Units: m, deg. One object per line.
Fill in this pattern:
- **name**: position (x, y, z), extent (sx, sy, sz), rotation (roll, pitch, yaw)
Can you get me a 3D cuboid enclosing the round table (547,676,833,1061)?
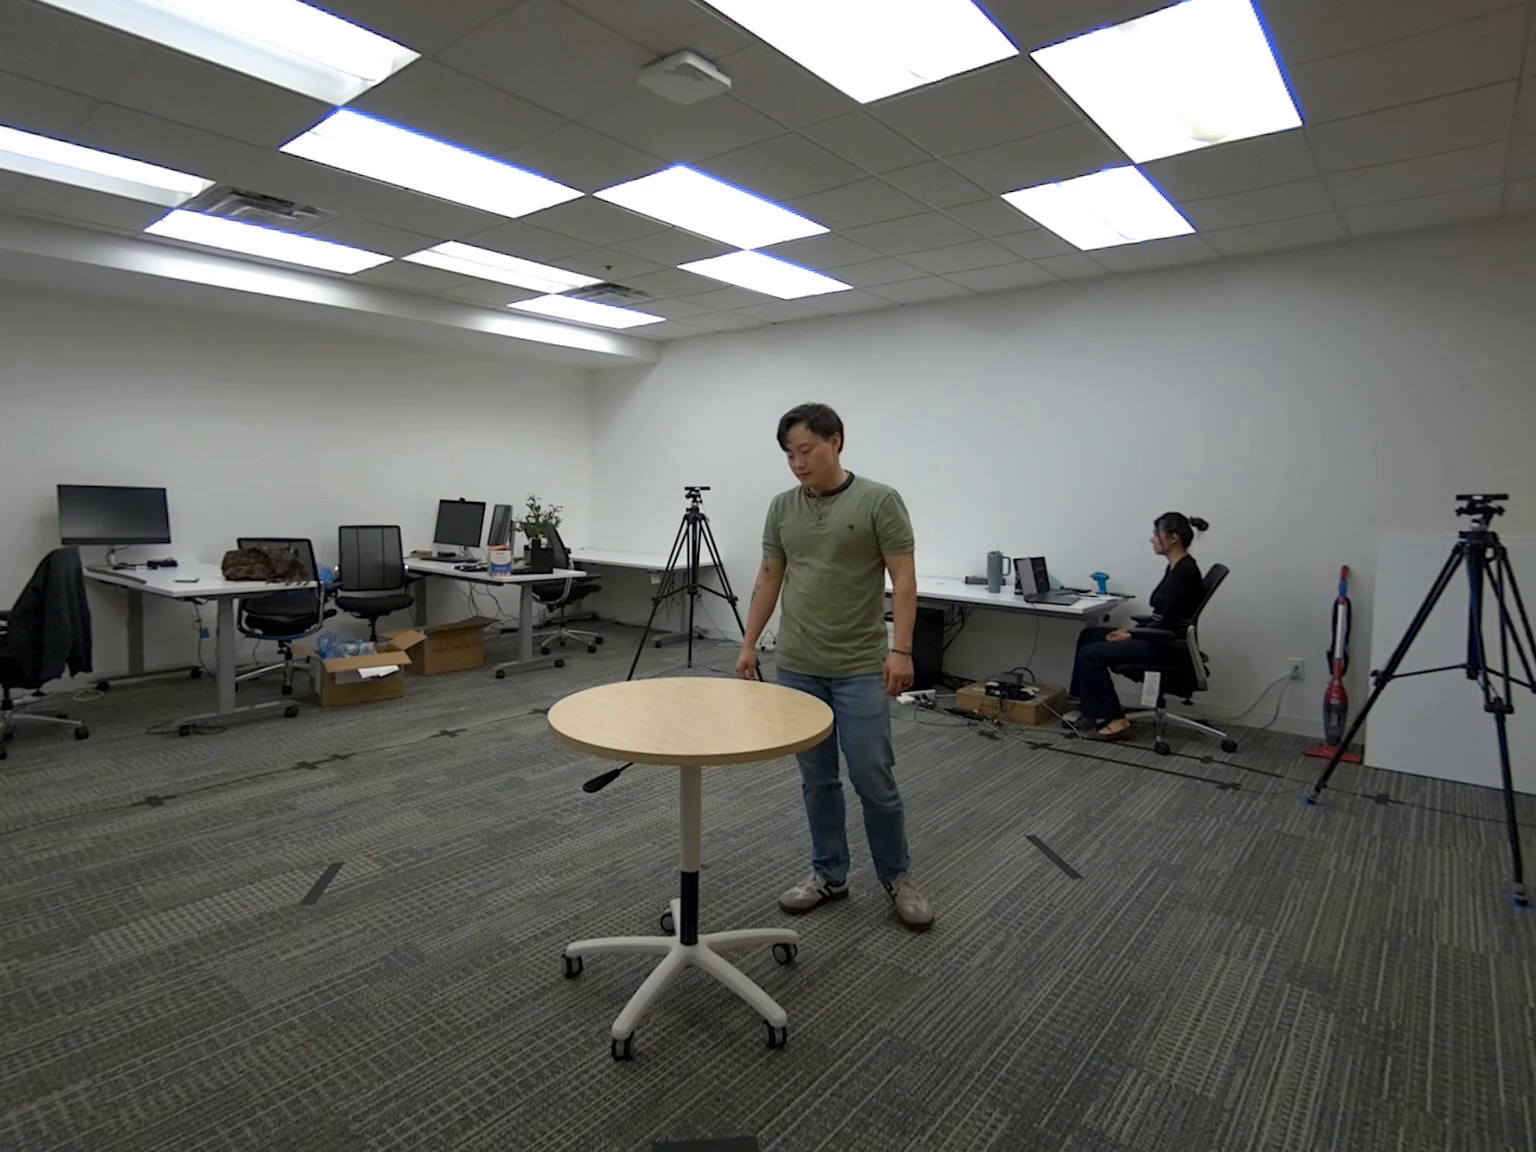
- **round table**: position (-0.218, 0.754, 2.329), extent (0.763, 0.791, 0.768), rotation (0, 5, -2)
